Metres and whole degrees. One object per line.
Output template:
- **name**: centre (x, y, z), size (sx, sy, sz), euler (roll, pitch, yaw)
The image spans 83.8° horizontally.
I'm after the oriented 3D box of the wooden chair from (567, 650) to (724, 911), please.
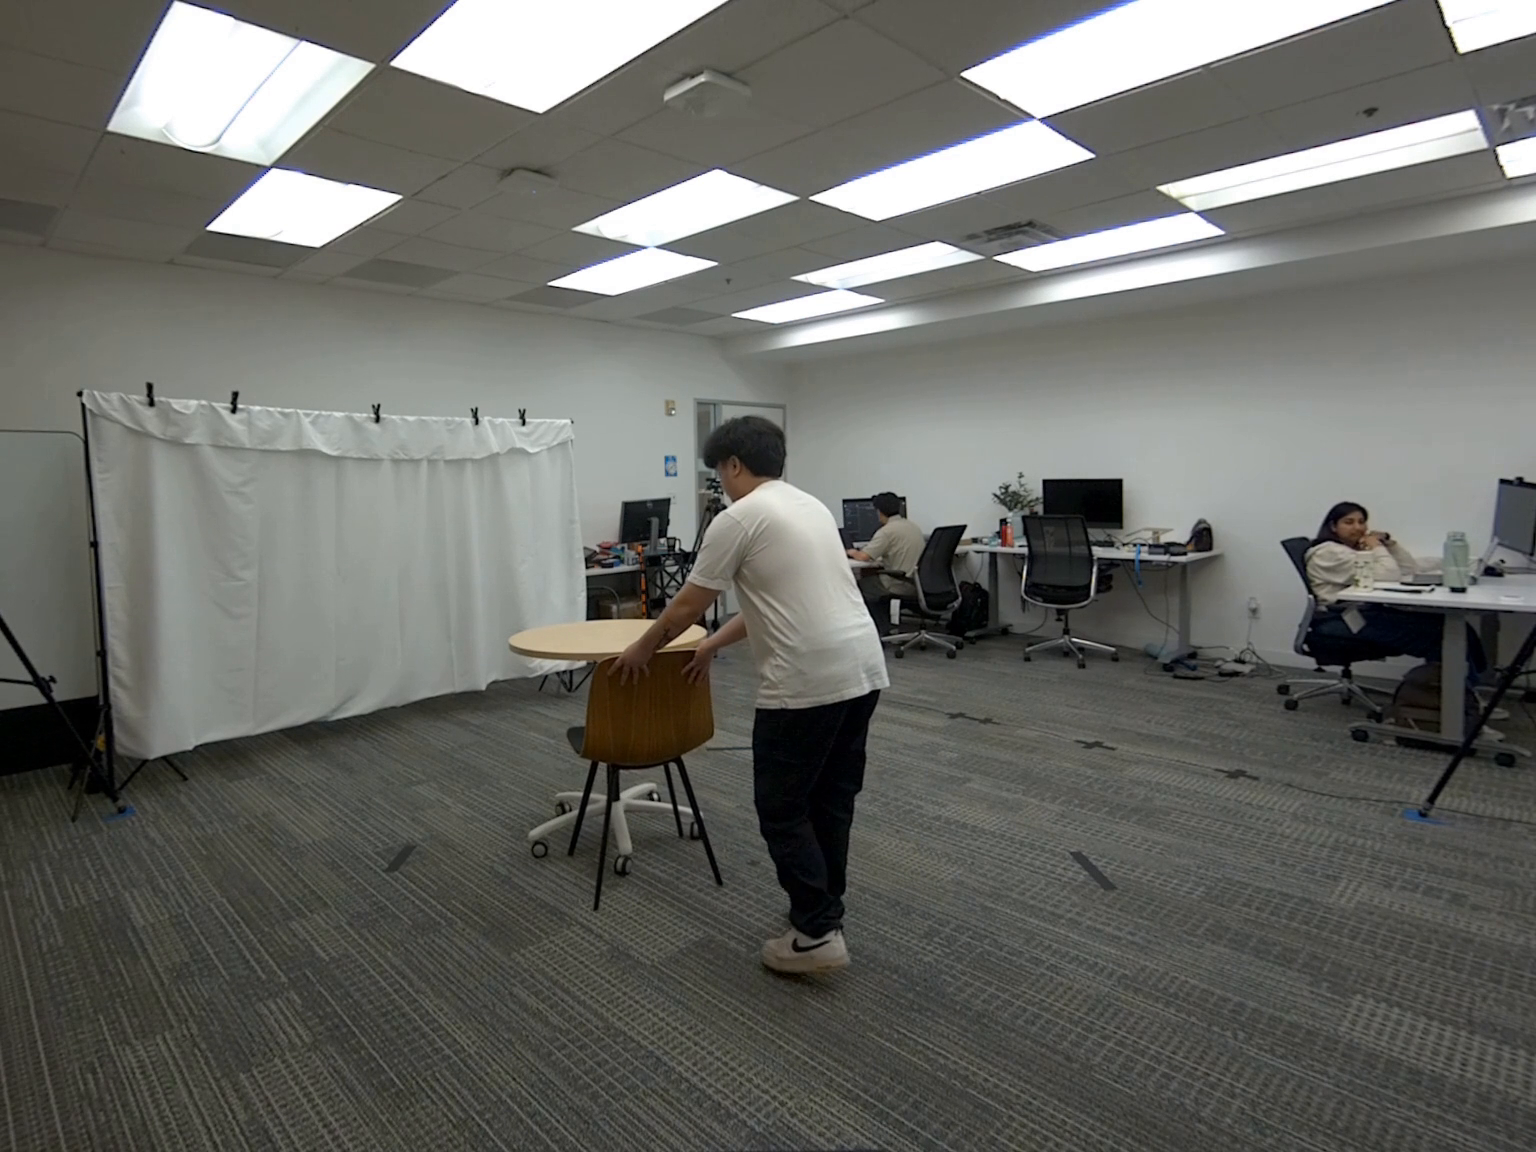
- **wooden chair**: centre (-0.452, 0.630, 3.036), size (0.469, 0.871, 0.537), euler (-3, 9, -22)
